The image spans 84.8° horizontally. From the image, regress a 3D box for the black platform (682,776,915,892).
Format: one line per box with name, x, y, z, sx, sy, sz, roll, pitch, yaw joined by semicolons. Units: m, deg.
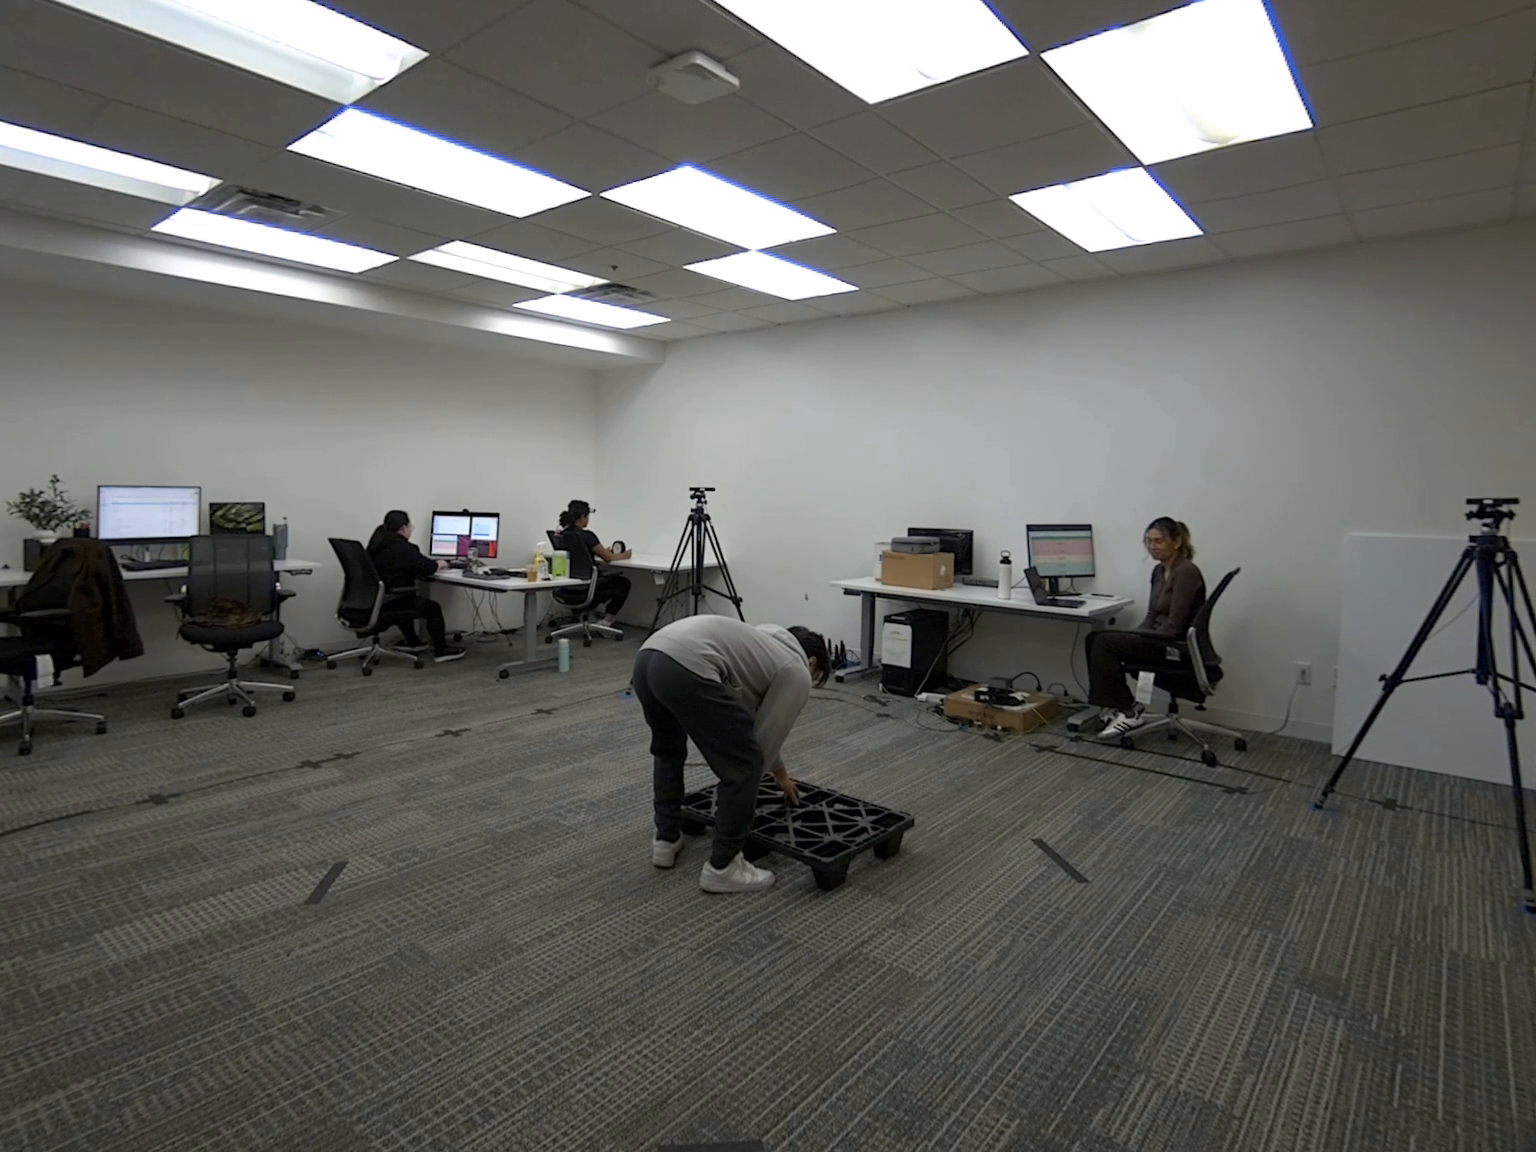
black platform;0.075;0.981;3.368;0.833;0.143;0.587;6;7;41
